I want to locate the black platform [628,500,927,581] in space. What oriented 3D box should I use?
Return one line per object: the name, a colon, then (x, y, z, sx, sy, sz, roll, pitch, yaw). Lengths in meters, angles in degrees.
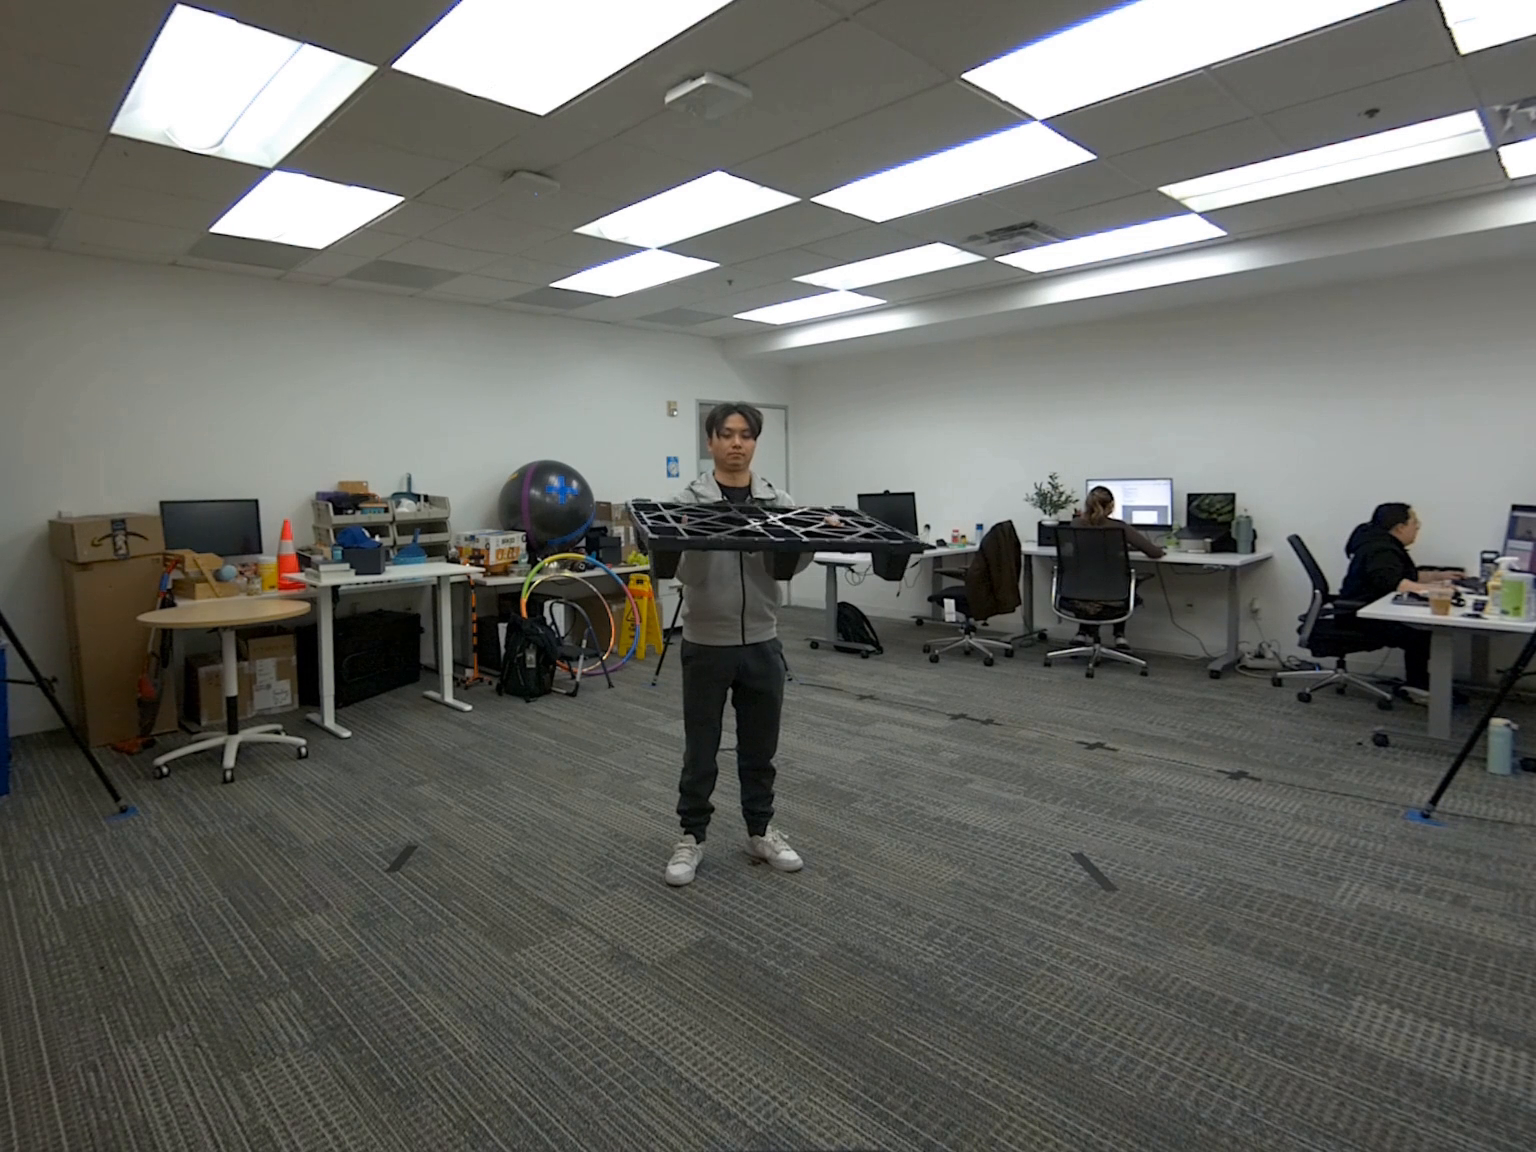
black platform: (-0.007, -0.107, 2.634, 0.795, 0.142, 0.620, 1, 14, -14)
